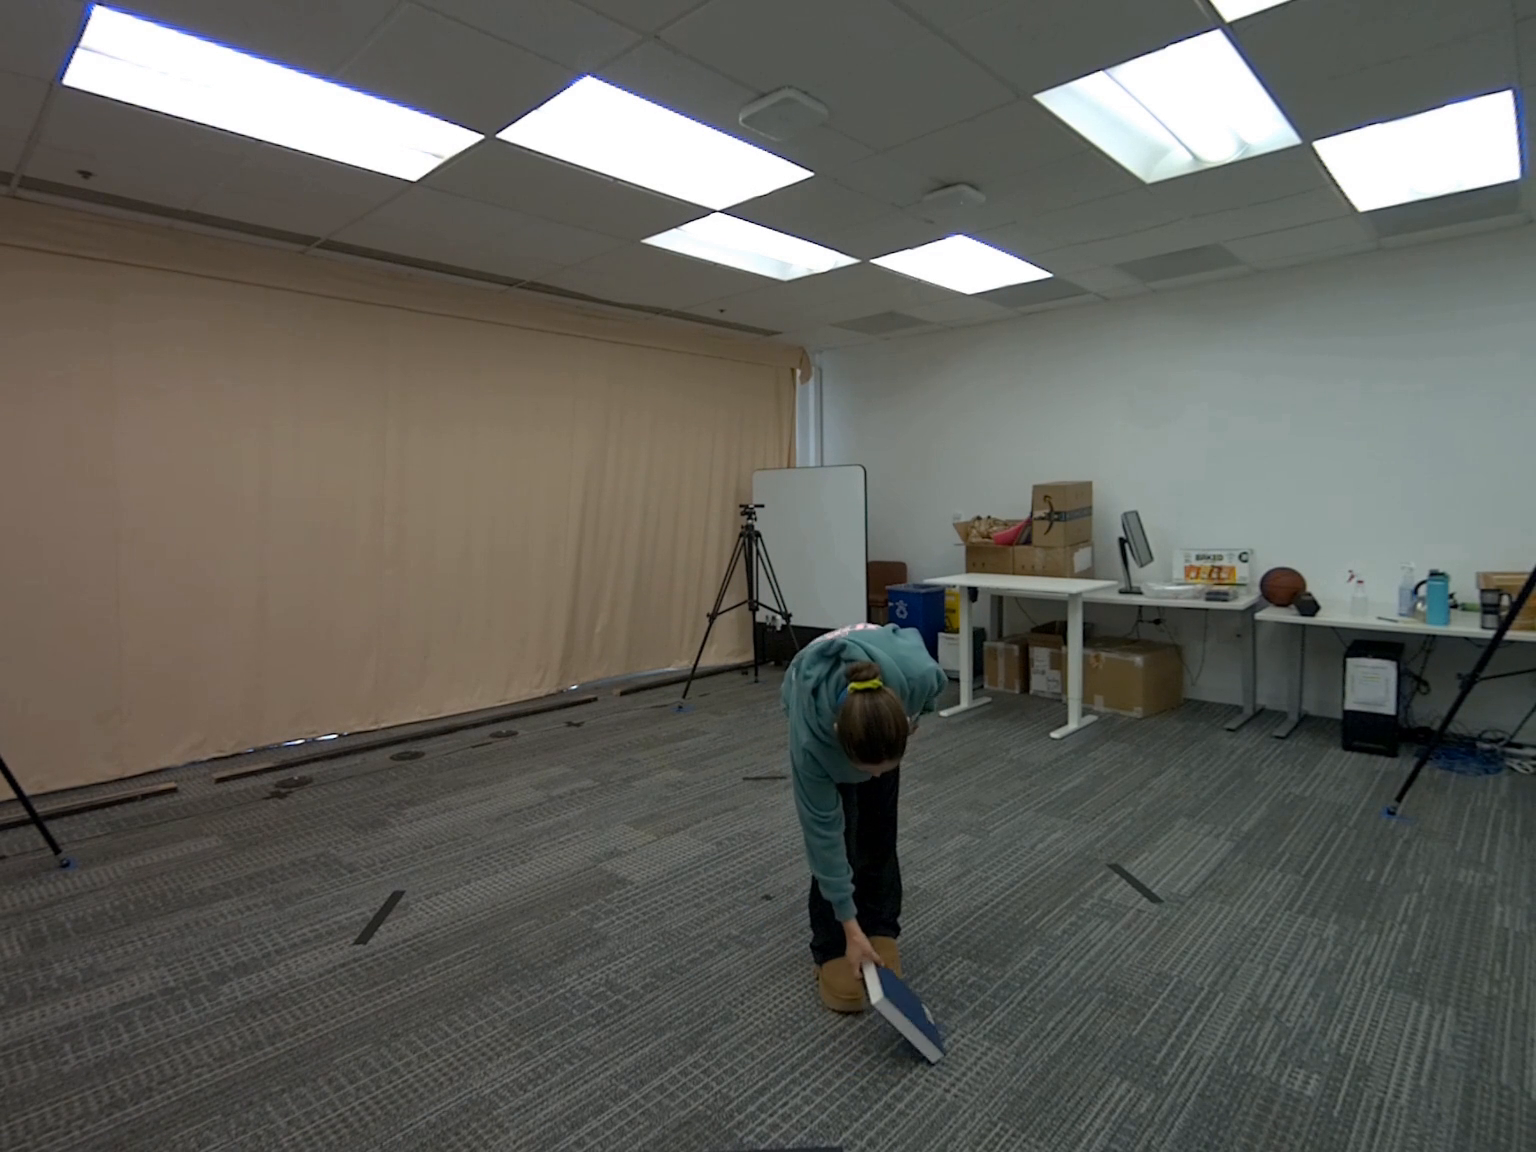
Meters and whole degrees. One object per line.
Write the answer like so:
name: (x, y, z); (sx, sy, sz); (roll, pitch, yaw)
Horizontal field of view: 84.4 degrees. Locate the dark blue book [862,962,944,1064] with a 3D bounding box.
dark blue book: (0.329, 1.081, 2.142); (0.045, 0.242, 0.165); (-41, 12, 6)
